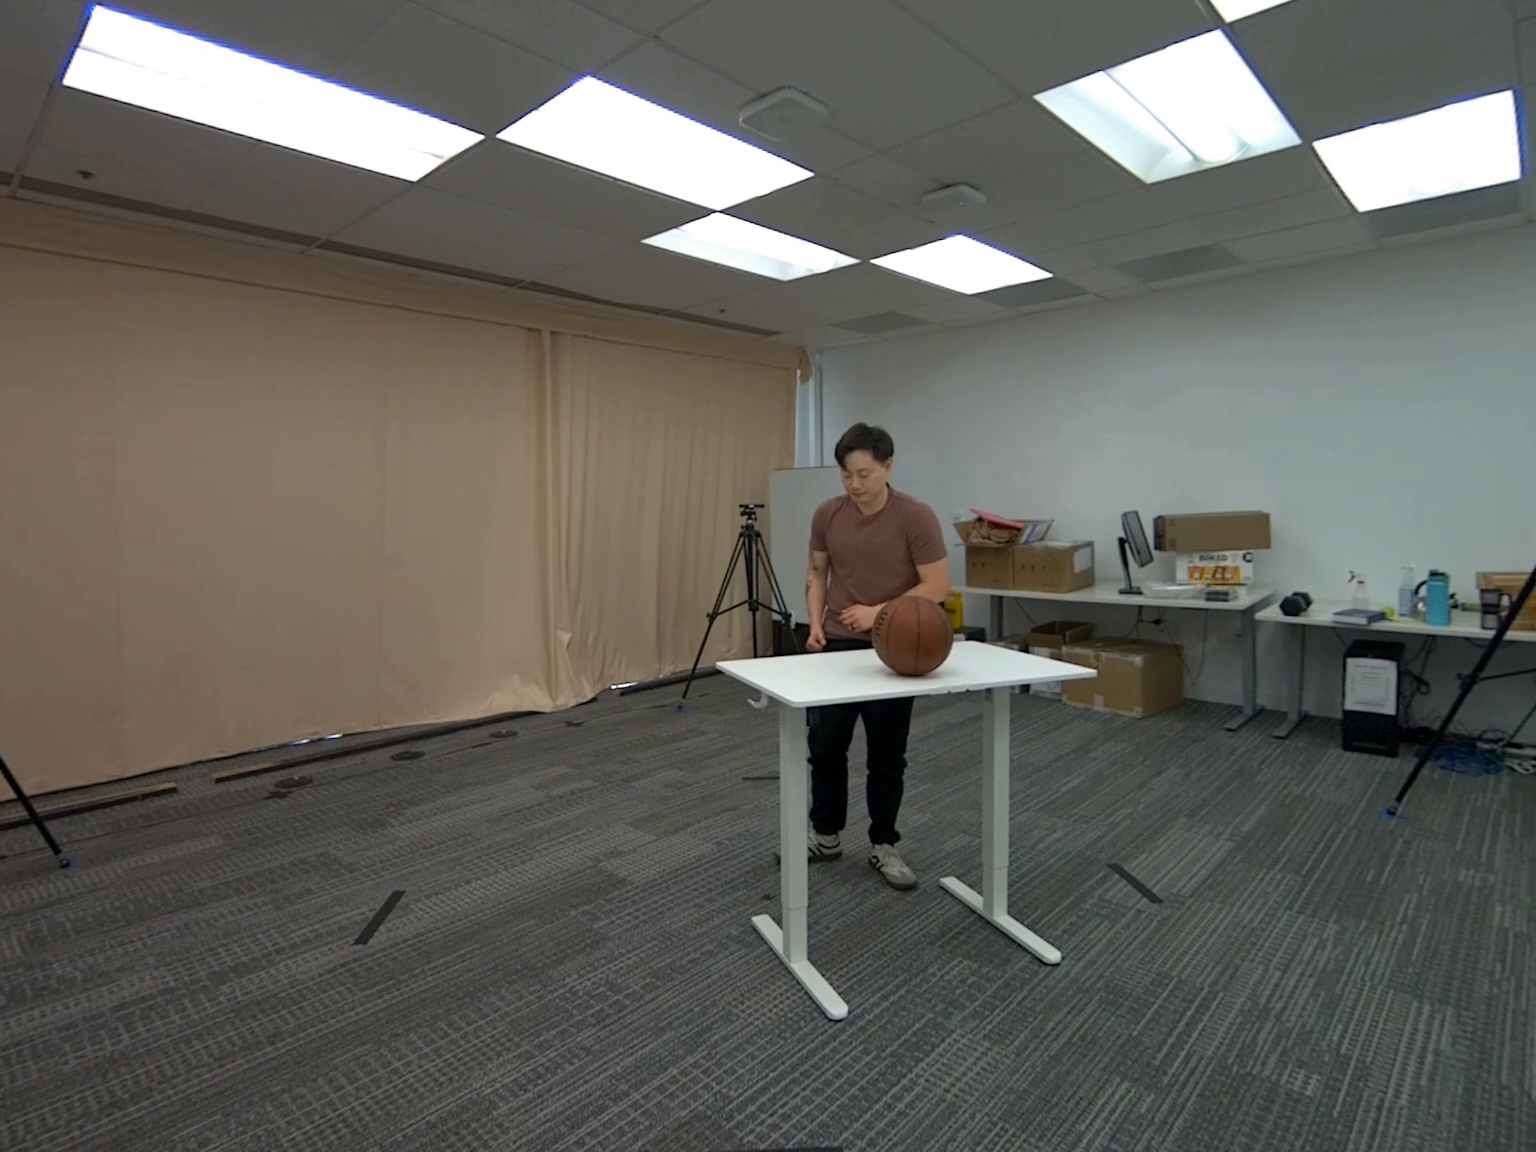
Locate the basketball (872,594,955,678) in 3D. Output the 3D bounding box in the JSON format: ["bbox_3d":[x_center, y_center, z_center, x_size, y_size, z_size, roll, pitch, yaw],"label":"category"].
[{"bbox_3d":[0.422,0.175,2.484,0.236,0.235,0.237,-1,4,-2],"label":"basketball"}]
